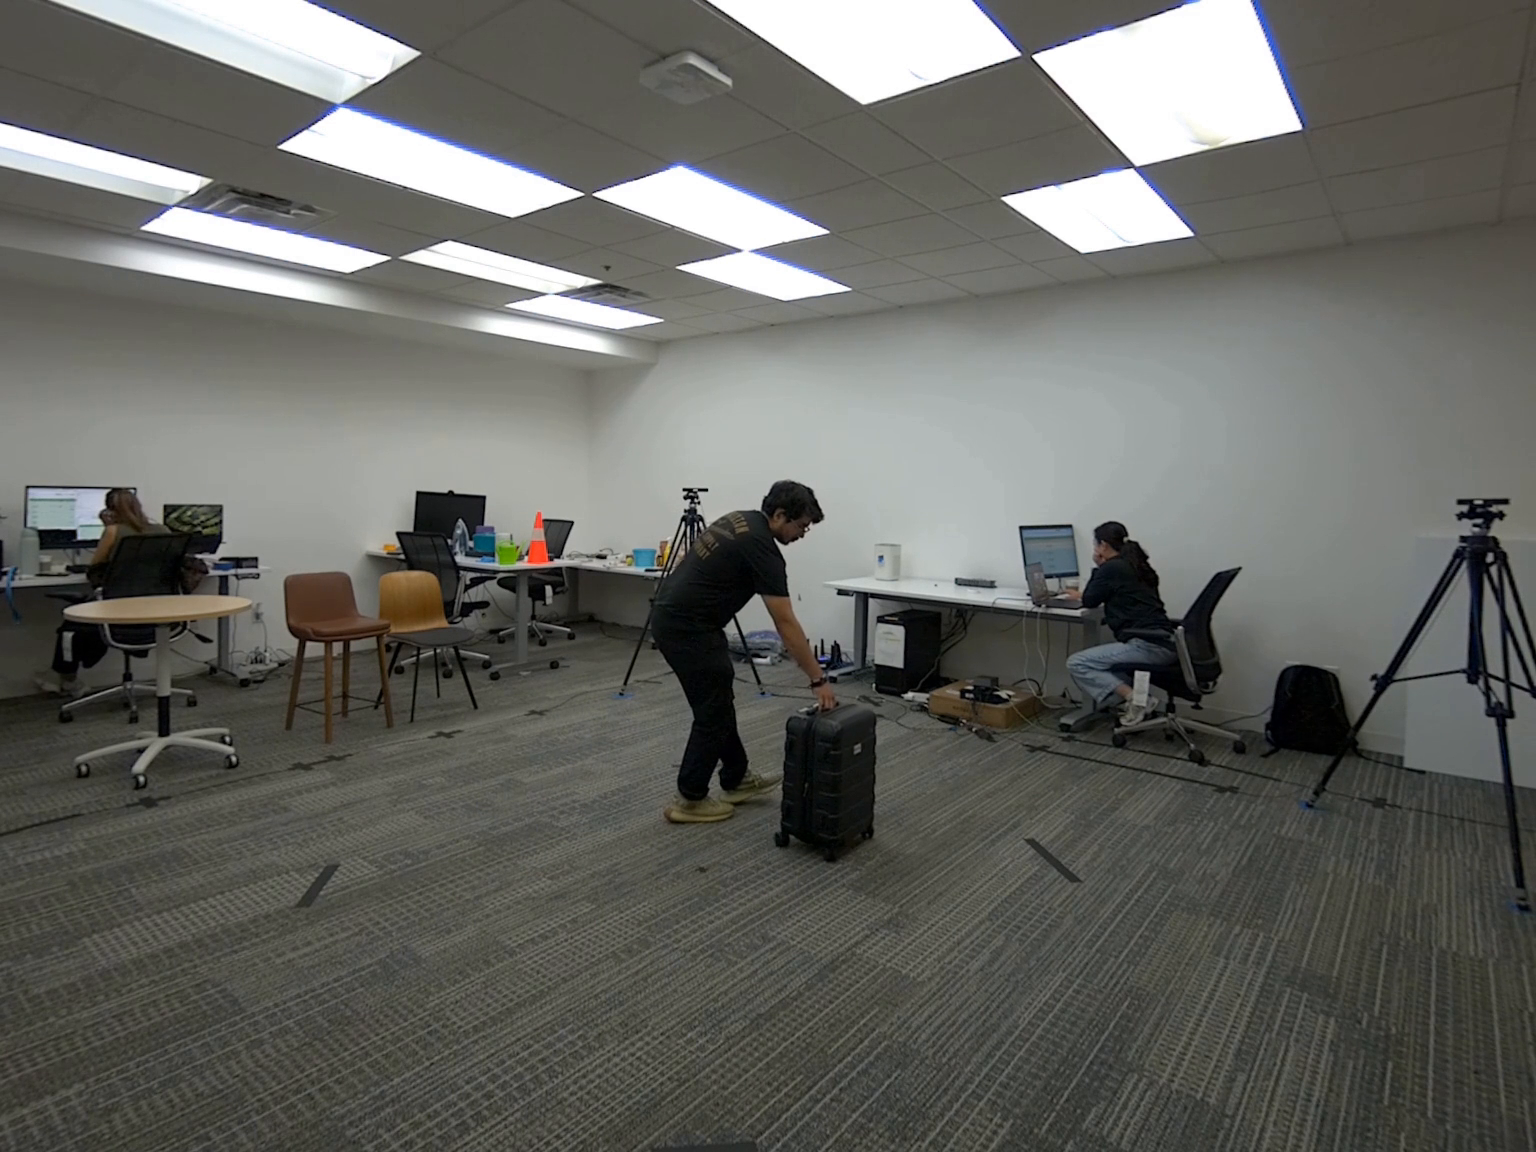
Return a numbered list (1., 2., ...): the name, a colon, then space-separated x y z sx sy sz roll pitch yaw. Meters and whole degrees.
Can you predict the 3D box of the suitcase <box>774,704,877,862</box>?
1. suitcase: 0.232 0.784 3.349 0.256 0.546 0.365 6 7 34
